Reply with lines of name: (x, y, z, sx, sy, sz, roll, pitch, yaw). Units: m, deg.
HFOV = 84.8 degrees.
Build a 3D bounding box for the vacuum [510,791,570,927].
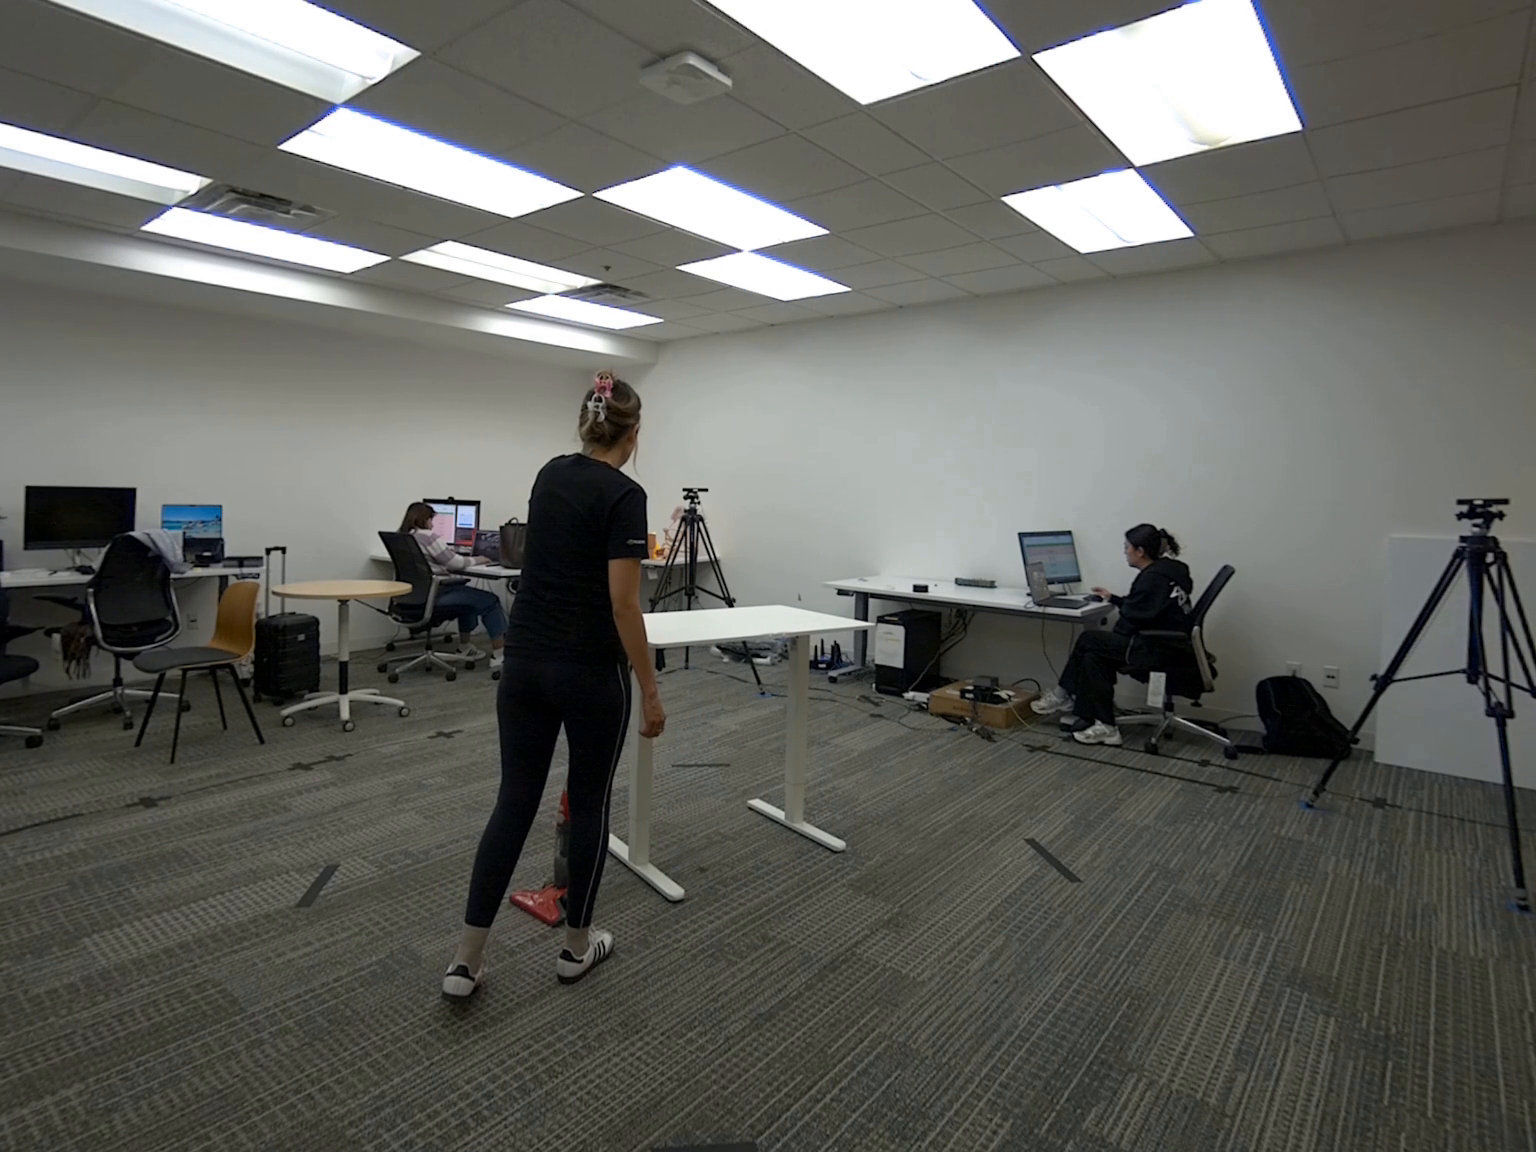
vacuum: (-0.621, 0.597, 2.895, 0.261, 1.057, 0.138, 6, -13, 35)
